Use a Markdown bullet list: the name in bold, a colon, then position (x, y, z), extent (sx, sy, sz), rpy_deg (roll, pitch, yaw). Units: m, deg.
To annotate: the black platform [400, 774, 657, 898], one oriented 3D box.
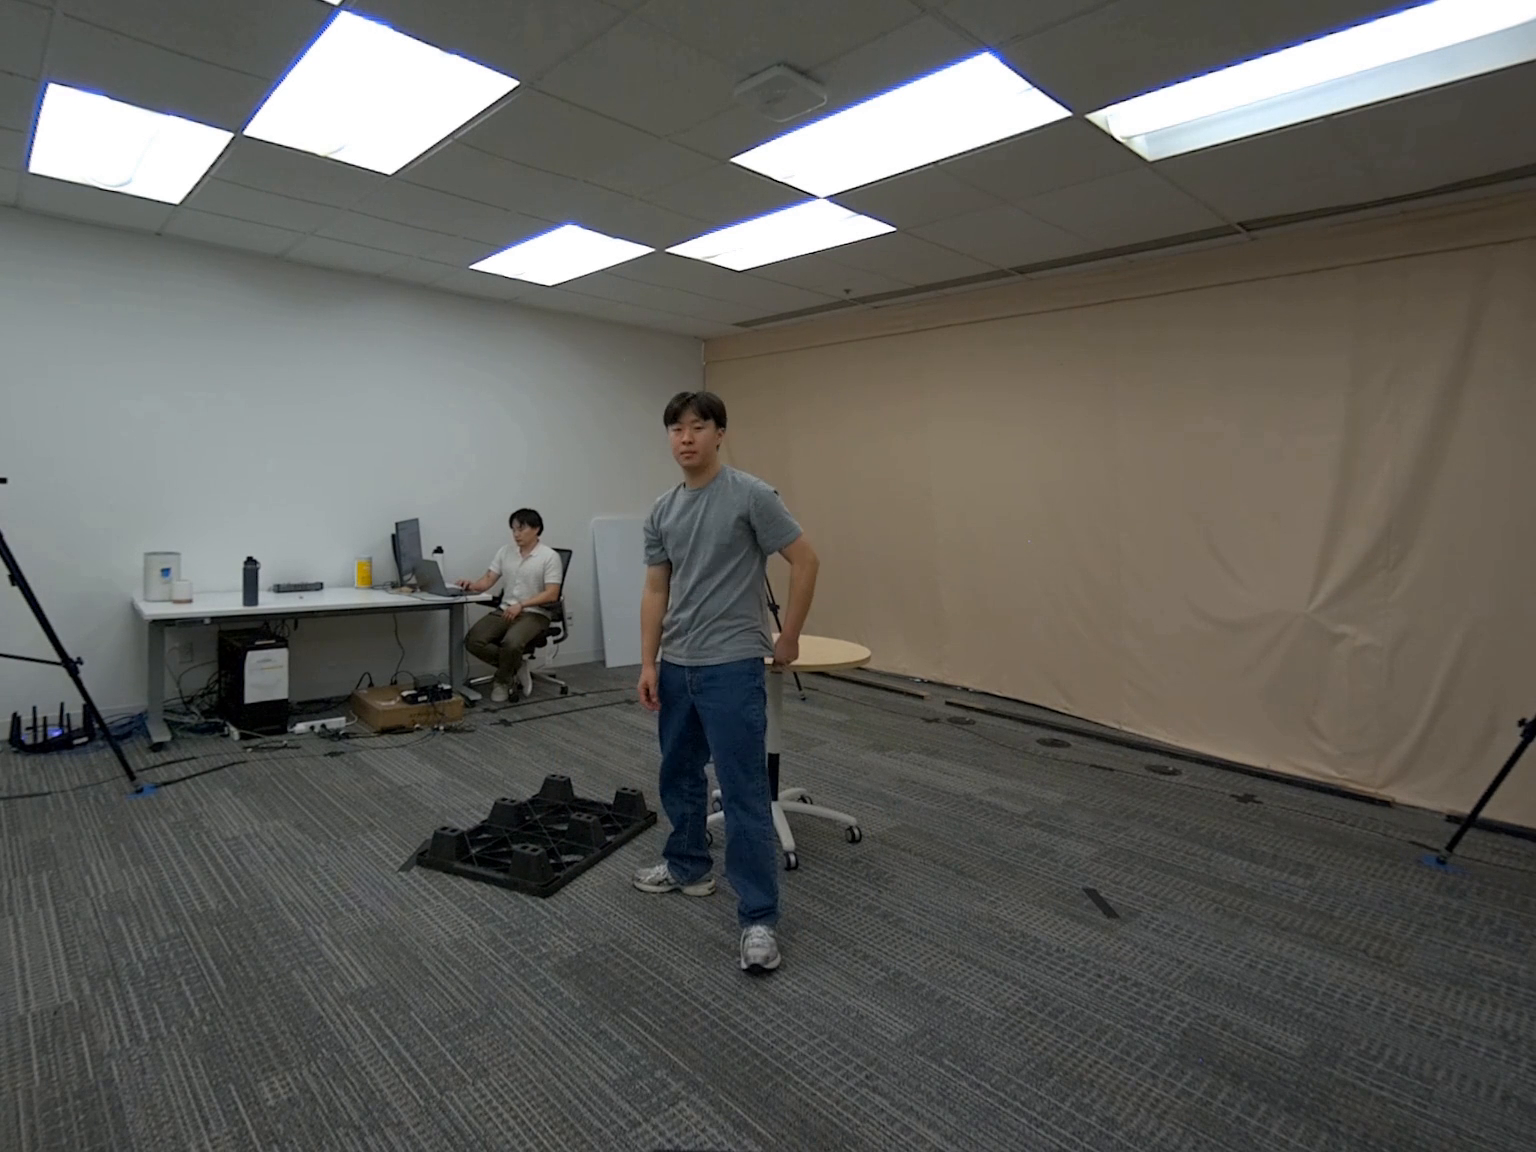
- **black platform**: position (-0.897, 1.001, 3.361), extent (0.616, 0.143, 0.793), rpy_deg (3, 5, 22)
